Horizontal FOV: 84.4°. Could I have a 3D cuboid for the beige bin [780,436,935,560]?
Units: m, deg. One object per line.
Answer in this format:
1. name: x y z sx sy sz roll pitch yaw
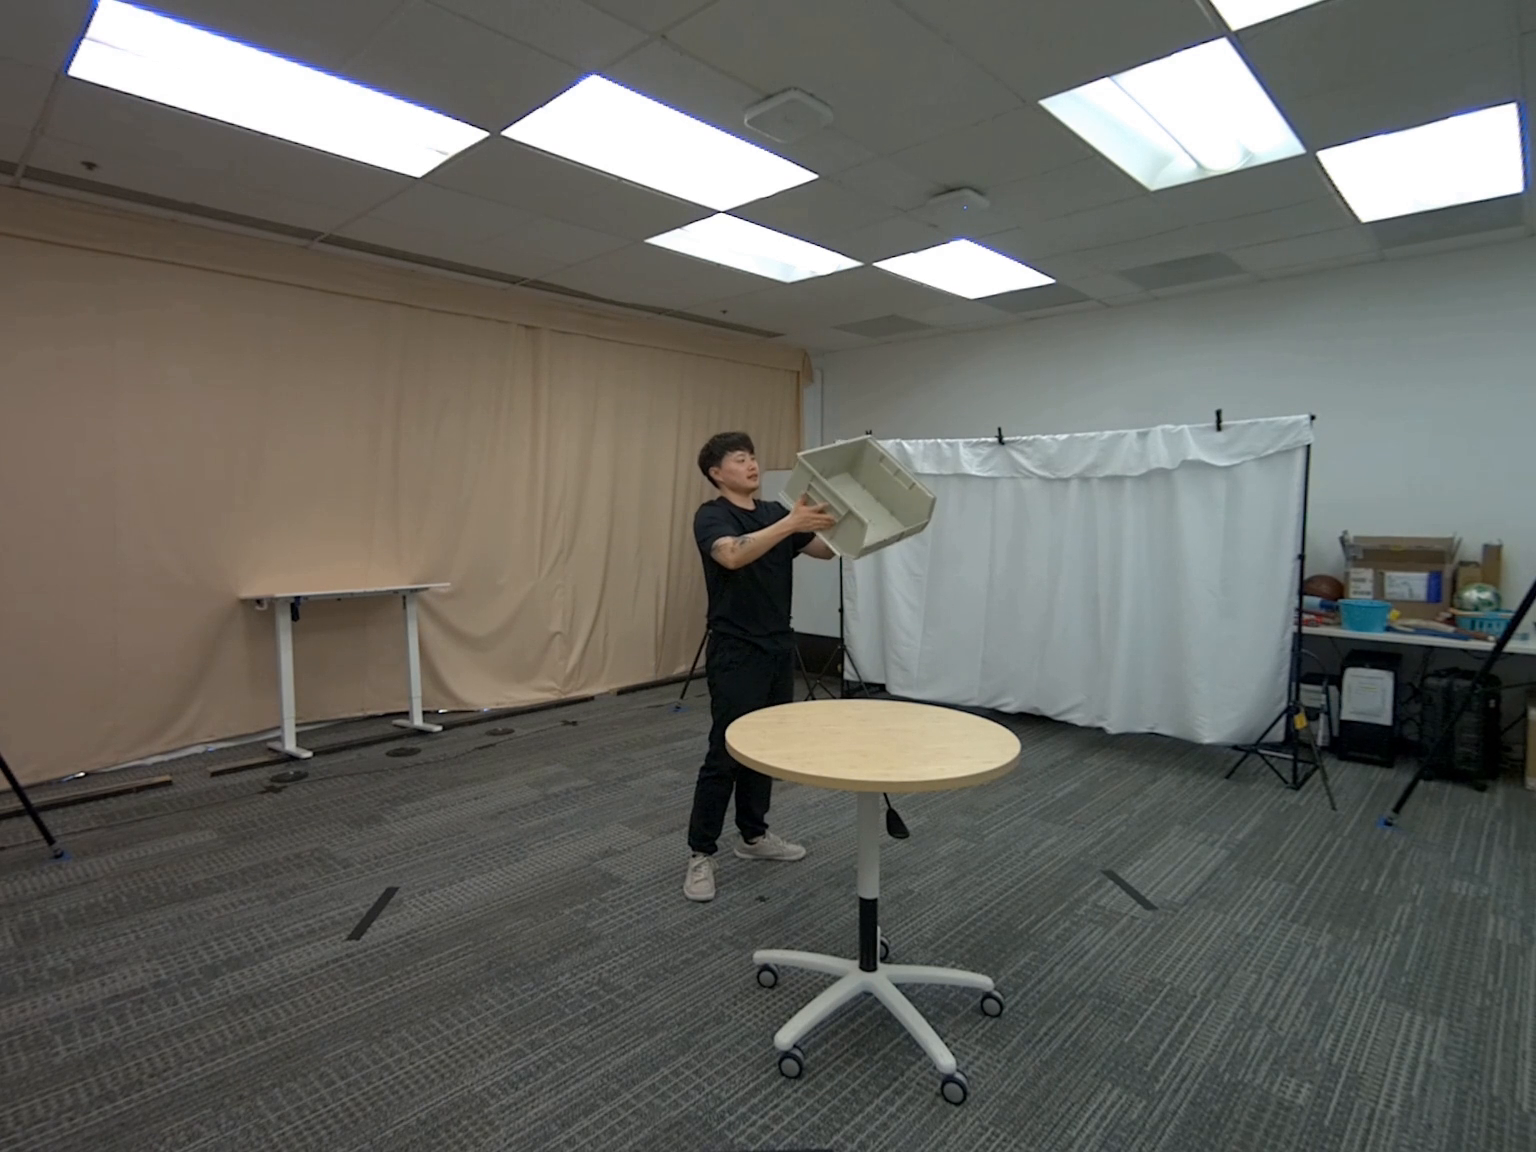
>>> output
1. beige bin: 0.317 -0.264 2.906 0.412 0.188 0.387 -21 59 -42
